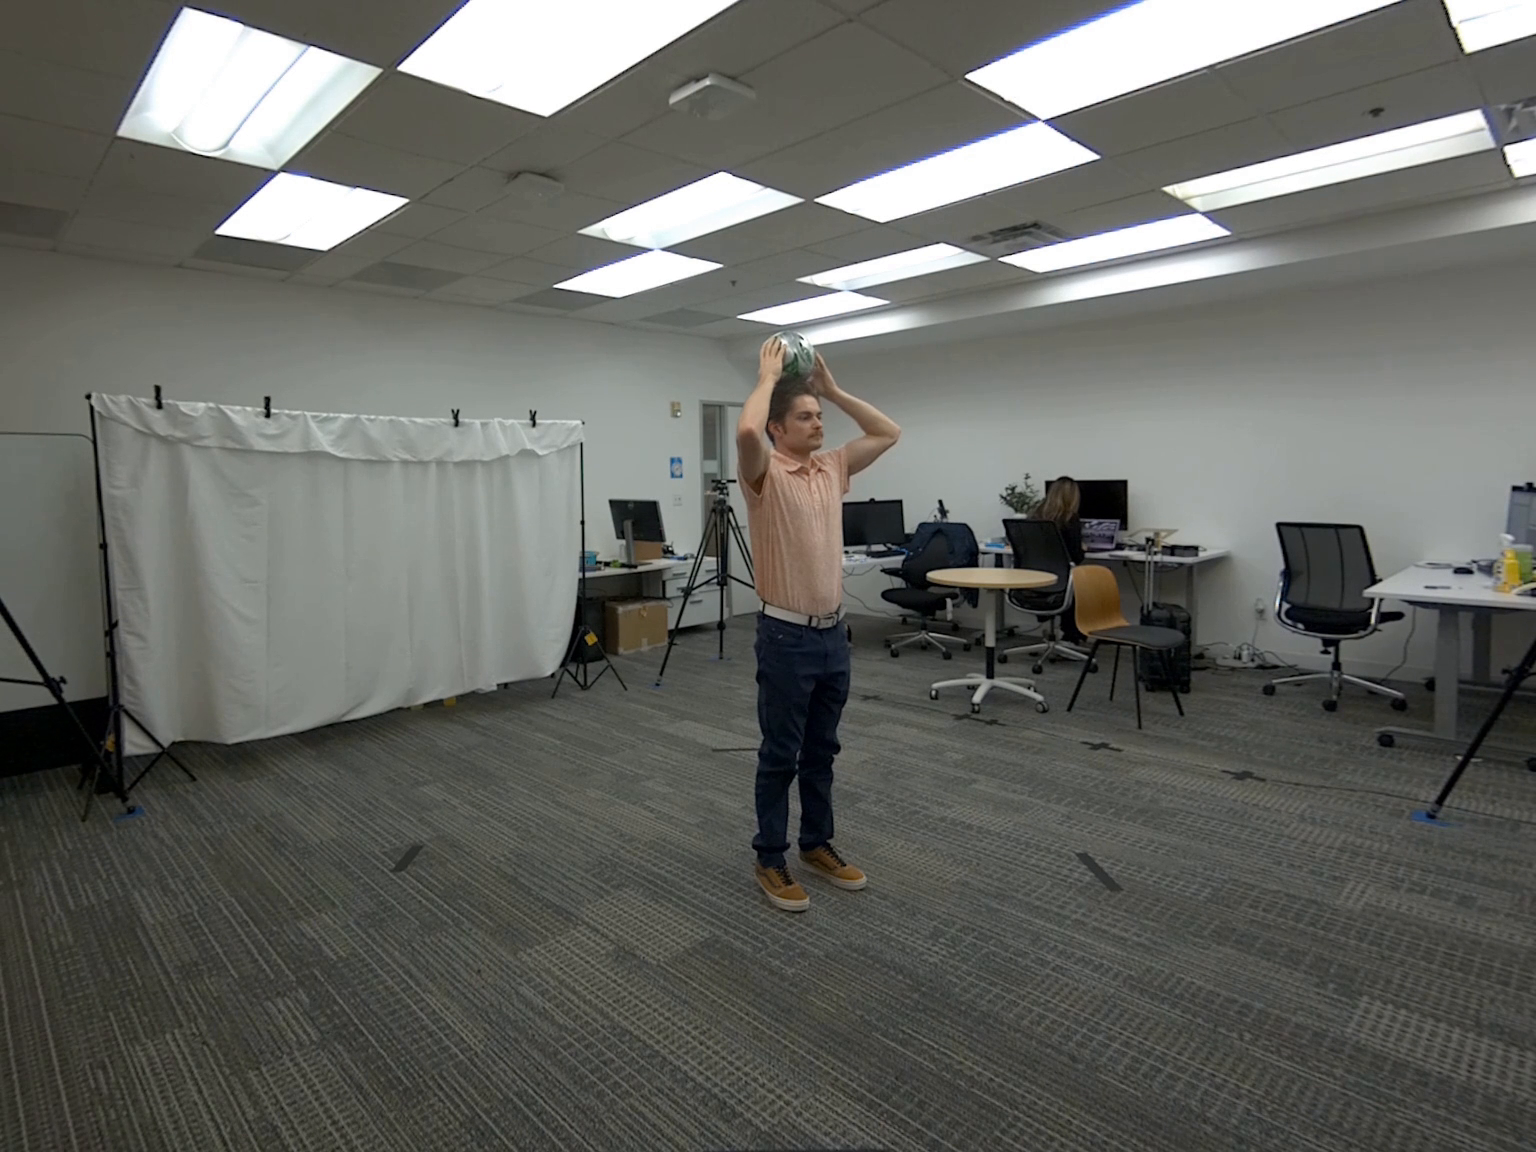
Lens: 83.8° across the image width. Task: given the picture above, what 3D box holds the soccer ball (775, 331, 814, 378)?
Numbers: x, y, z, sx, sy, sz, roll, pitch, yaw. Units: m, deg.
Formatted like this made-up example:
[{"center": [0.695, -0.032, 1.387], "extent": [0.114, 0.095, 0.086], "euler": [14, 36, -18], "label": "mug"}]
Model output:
[{"center": [0.071, -0.726, 2.870], "extent": [0.187, 0.187, 0.188], "euler": [-1, 5, -2], "label": "soccer ball"}]
